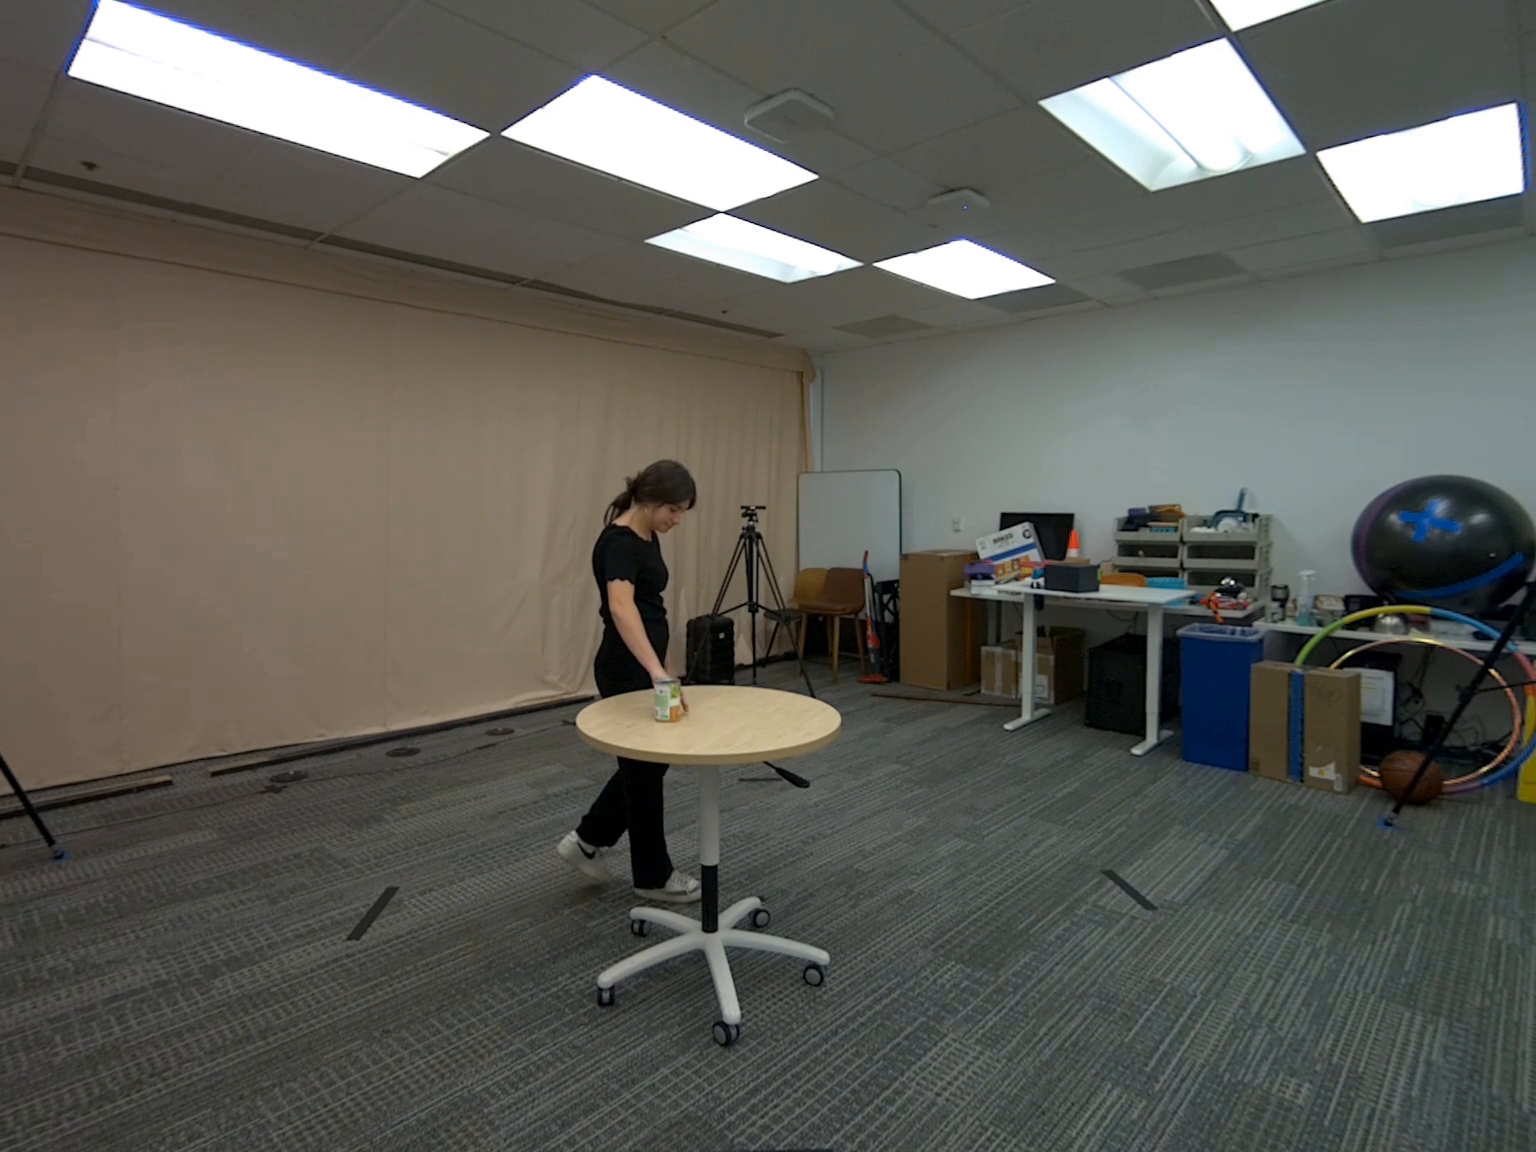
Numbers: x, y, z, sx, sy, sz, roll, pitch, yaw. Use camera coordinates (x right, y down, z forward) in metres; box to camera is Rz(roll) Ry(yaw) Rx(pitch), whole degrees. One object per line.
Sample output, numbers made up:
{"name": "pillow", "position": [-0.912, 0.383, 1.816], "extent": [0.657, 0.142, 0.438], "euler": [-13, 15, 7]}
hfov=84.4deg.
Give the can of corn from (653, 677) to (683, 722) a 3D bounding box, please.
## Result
{"name": "can of corn", "position": [-0.287, 0.355, 2.398], "extent": [0.074, 0.111, 0.074], "euler": [-4, 4, -1]}
